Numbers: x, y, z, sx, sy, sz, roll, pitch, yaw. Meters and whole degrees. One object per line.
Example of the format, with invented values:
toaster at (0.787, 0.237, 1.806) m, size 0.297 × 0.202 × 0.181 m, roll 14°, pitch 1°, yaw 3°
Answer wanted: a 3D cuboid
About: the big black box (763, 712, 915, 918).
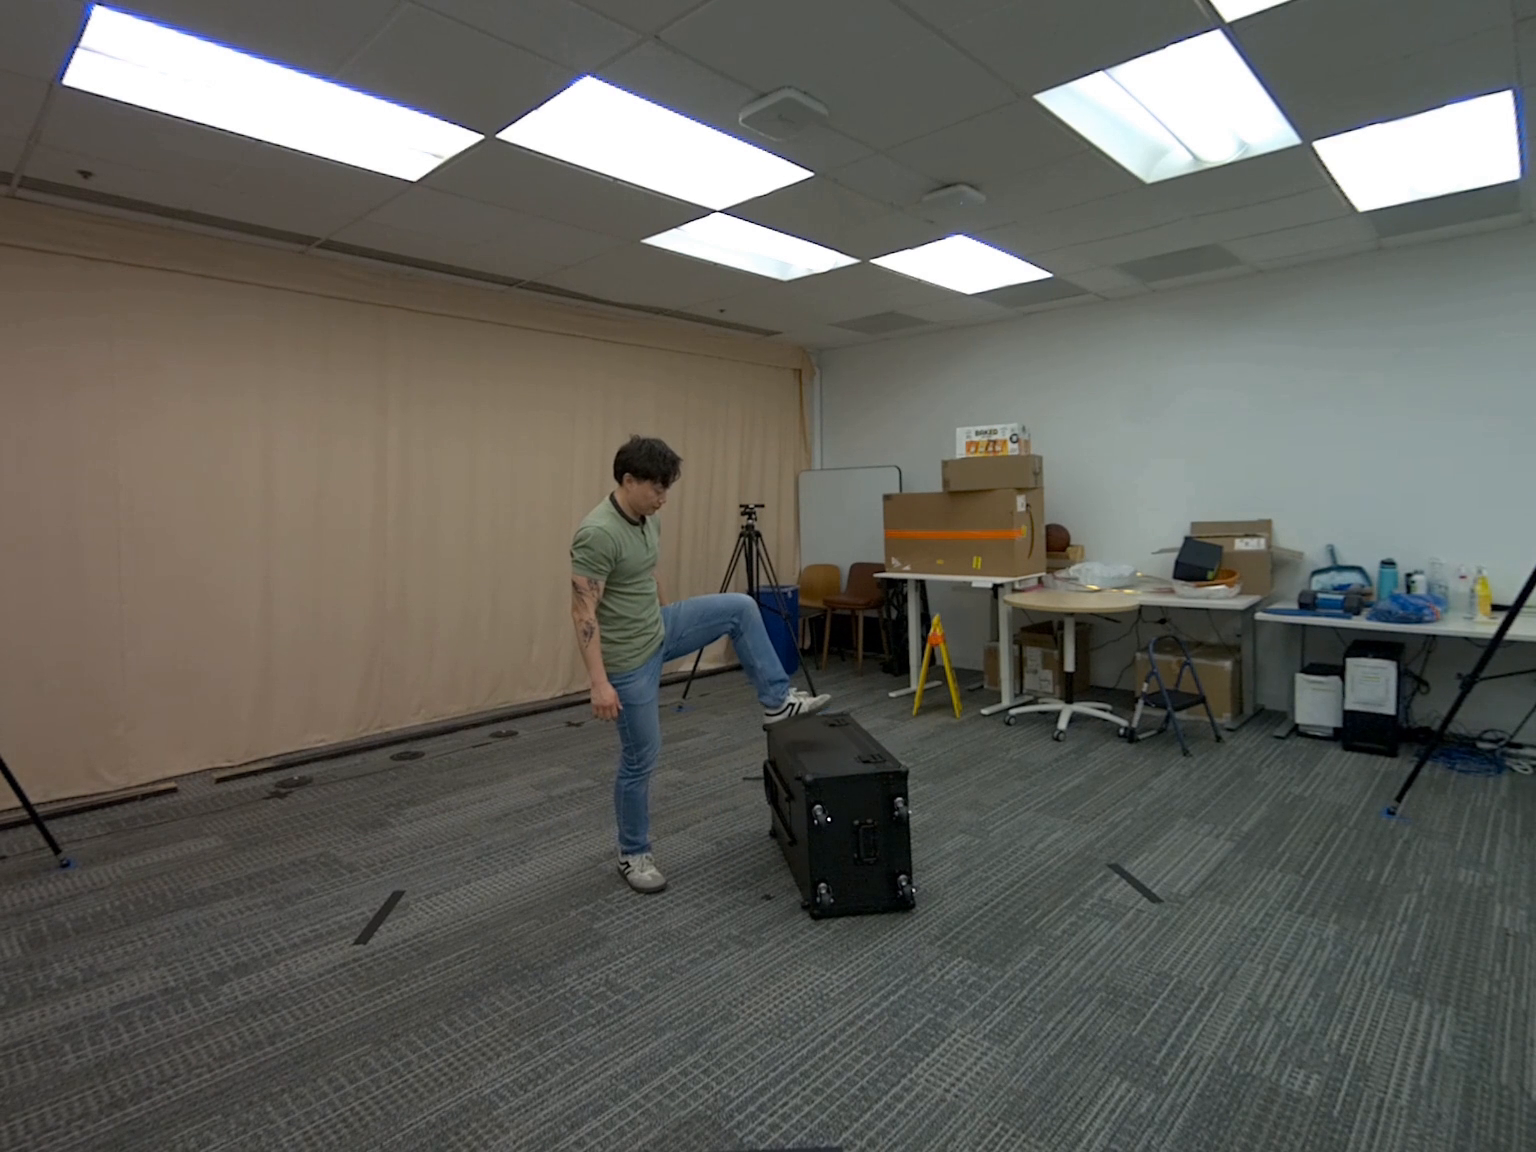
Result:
big black box at (0.237, 0.861, 3.169) m, size 0.393 × 0.520 × 0.871 m, roll -4°, pitch 5°, yaw -10°
